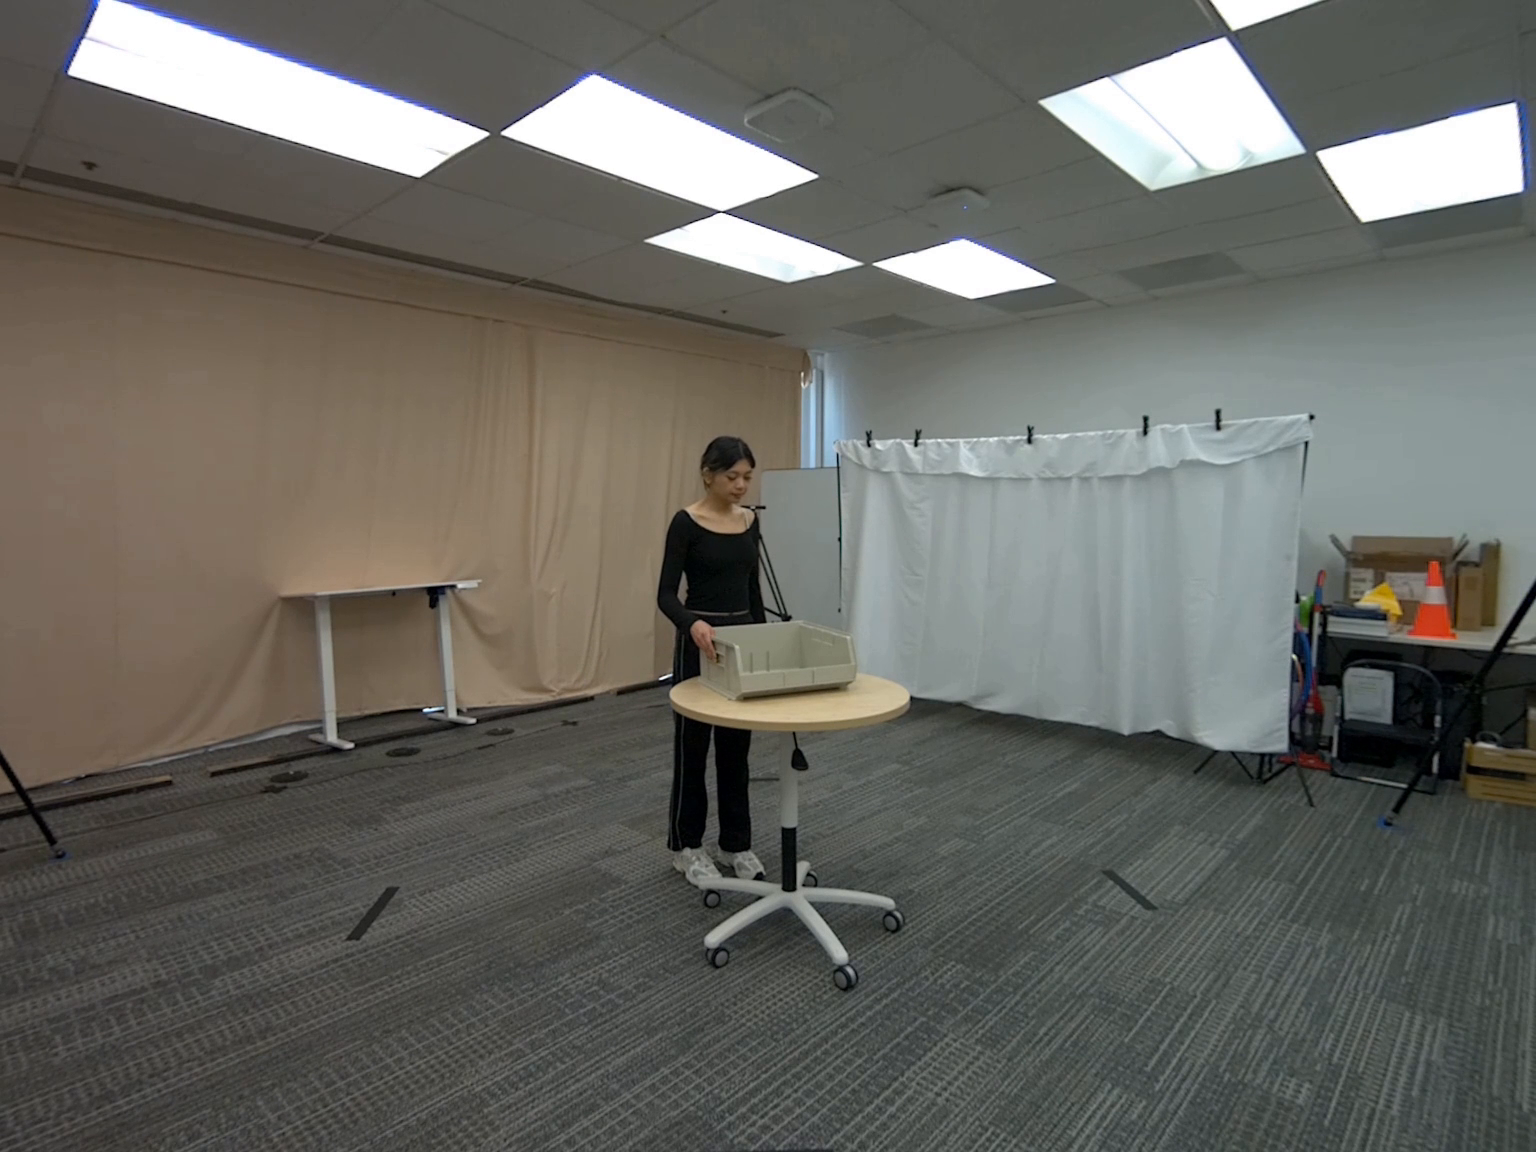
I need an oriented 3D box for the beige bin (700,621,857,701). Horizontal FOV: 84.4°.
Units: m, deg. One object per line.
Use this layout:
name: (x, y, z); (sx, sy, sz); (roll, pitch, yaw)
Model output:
beige bin: (0.024, 0.274, 2.788); (0.413, 0.188, 0.387); (-3, 5, -24)
